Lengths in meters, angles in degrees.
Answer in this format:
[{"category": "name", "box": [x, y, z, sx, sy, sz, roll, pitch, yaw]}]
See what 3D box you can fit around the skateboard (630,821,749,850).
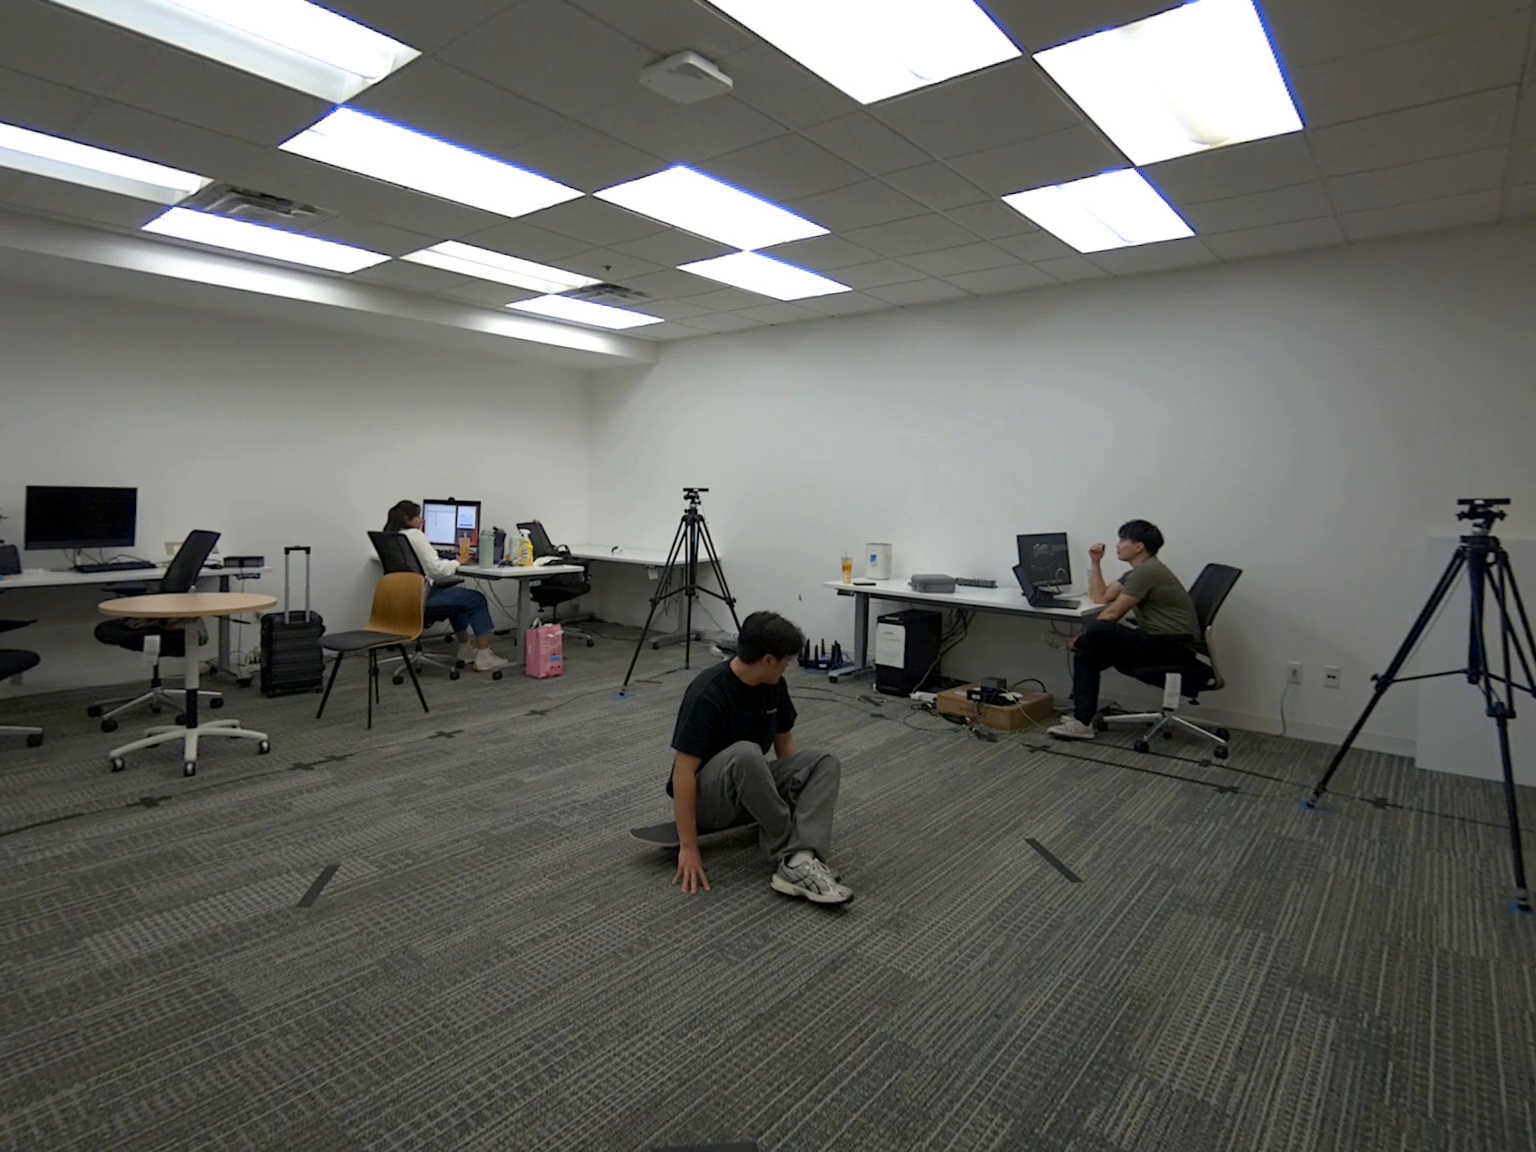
[{"category": "skateboard", "box": [-0.191, 0.989, 3.351, 0.763, 0.110, 0.199, -2, 2, -35]}]
